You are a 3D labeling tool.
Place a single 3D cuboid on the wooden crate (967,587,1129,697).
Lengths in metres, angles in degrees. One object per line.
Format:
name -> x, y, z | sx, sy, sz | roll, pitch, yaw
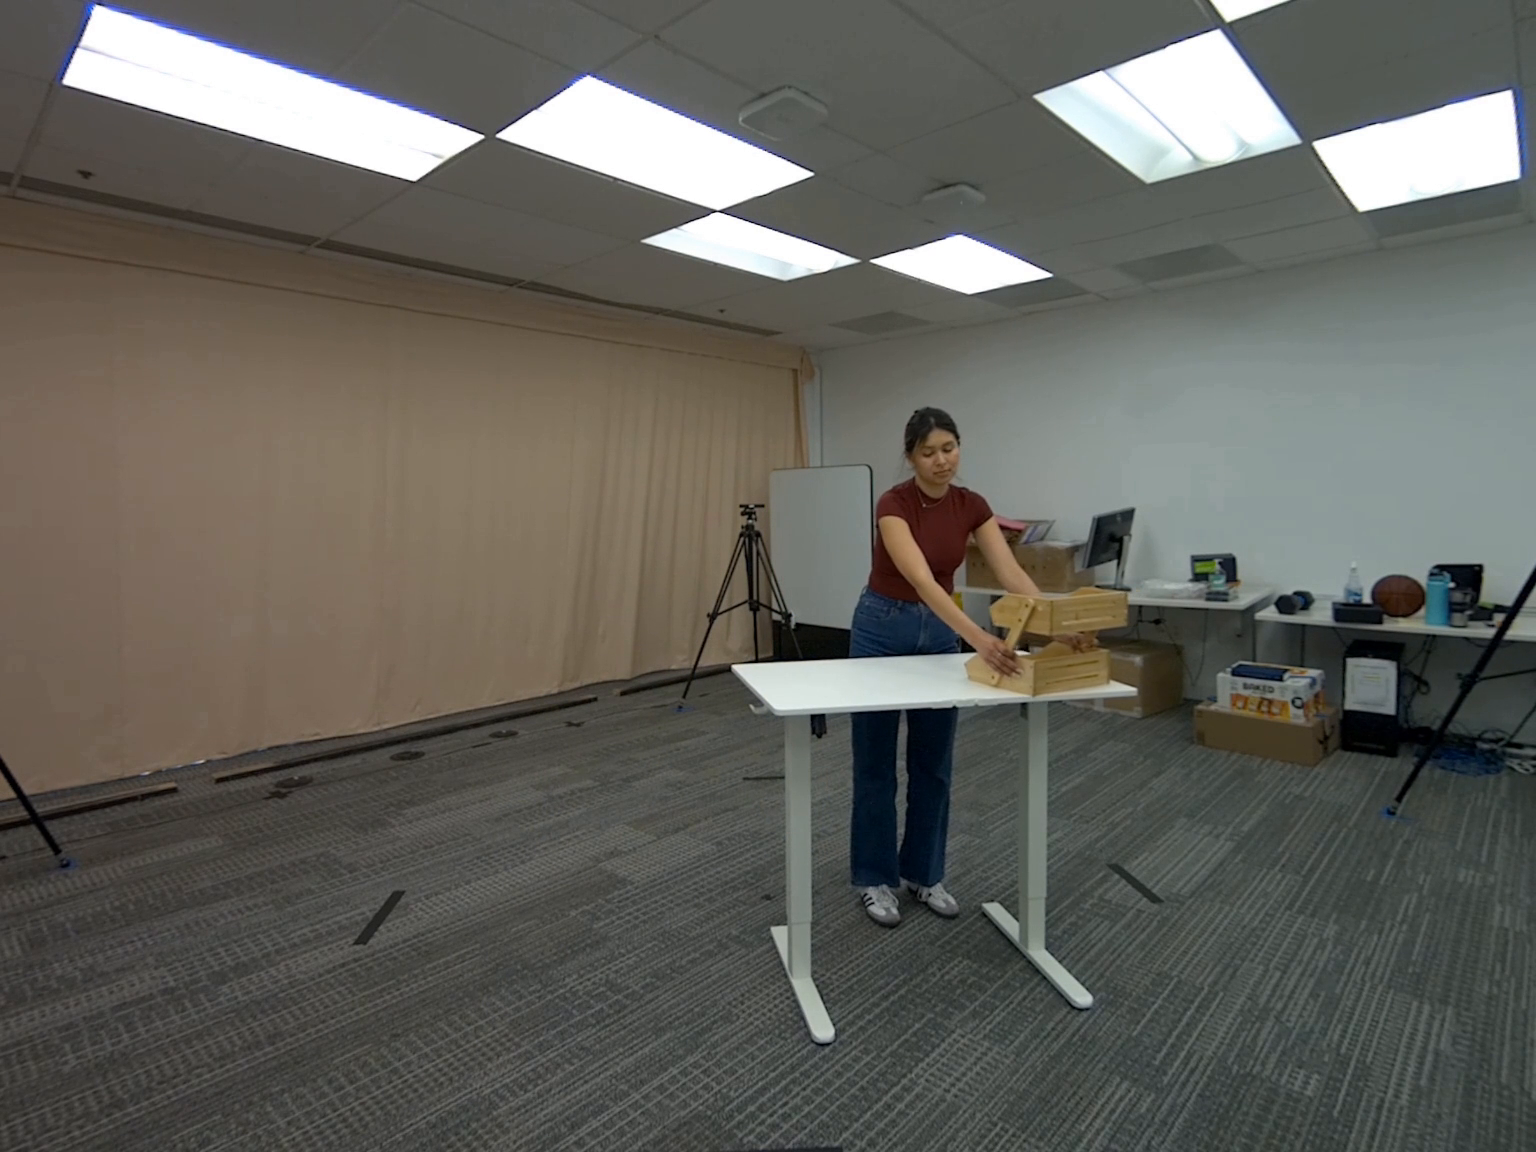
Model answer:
wooden crate -> 0.779, 0.169, 2.344 | 0.316, 0.272, 0.311 | -3, 6, -30
